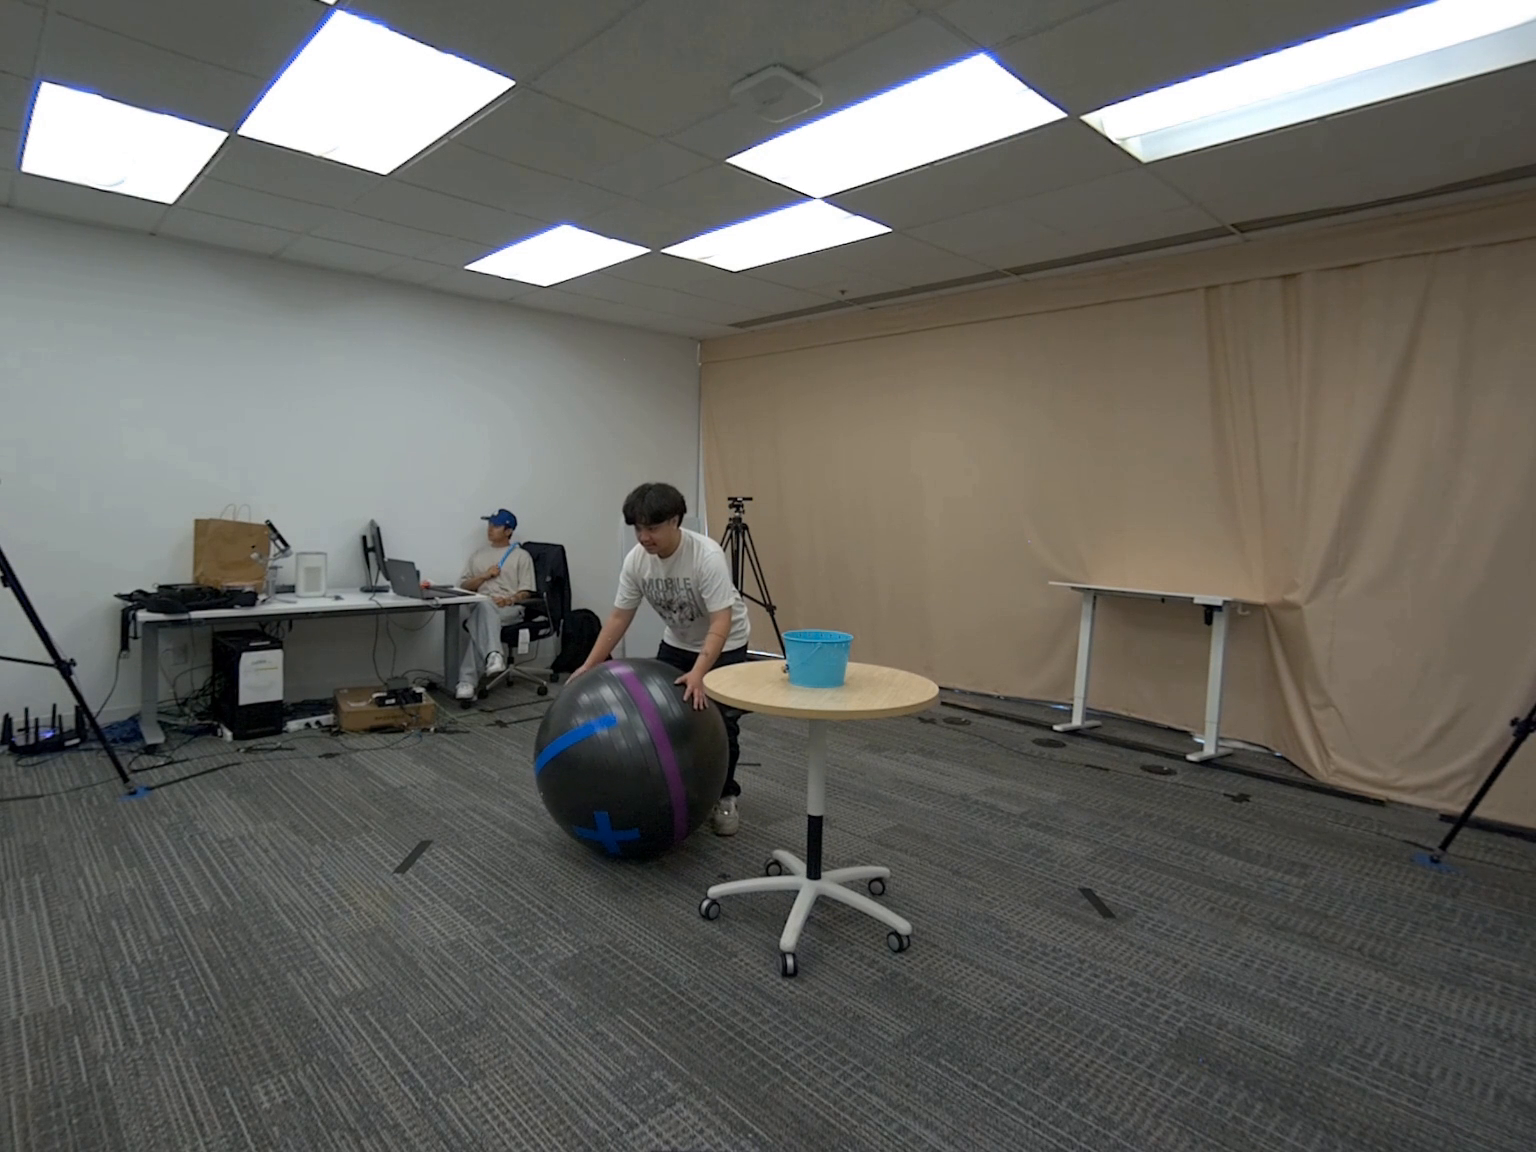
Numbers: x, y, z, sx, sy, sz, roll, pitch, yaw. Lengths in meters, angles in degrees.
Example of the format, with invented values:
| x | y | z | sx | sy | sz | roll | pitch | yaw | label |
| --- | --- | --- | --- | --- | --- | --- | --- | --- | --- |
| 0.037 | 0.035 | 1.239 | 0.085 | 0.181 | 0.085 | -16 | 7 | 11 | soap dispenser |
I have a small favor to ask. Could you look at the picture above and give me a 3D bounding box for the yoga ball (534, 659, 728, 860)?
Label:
| x | y | z | sx | sy | sz | roll | pitch | yaw | label |
| --- | --- | --- | --- | --- | --- | --- | --- | --- | --- |
| -0.546 | 0.715 | 3.321 | 0.757 | 0.756 | 0.761 | 1 | 4 | -1 | yoga ball |
